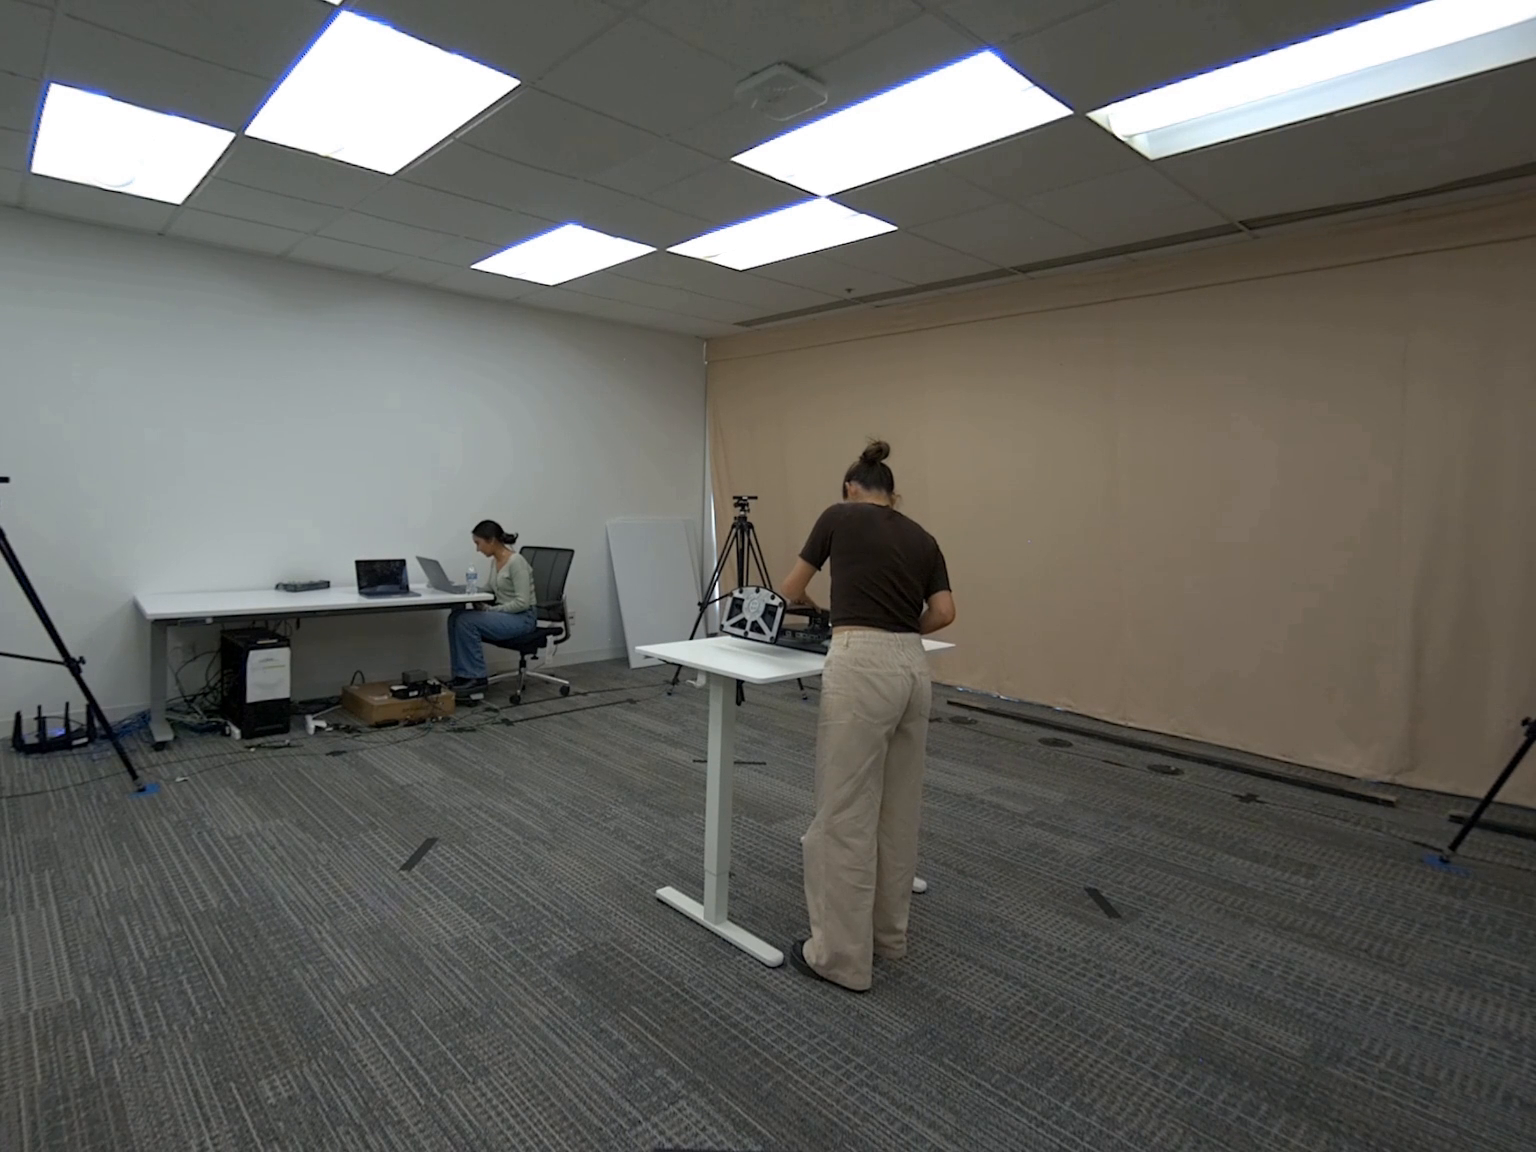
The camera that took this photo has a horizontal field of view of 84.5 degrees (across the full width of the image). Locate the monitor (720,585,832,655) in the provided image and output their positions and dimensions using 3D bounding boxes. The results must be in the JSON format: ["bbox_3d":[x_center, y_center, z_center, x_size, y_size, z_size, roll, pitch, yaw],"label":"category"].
[{"bbox_3d":[0.108,0.179,2.950,0.507,0.187,0.553,18,-6,-42],"label":"monitor"}]
